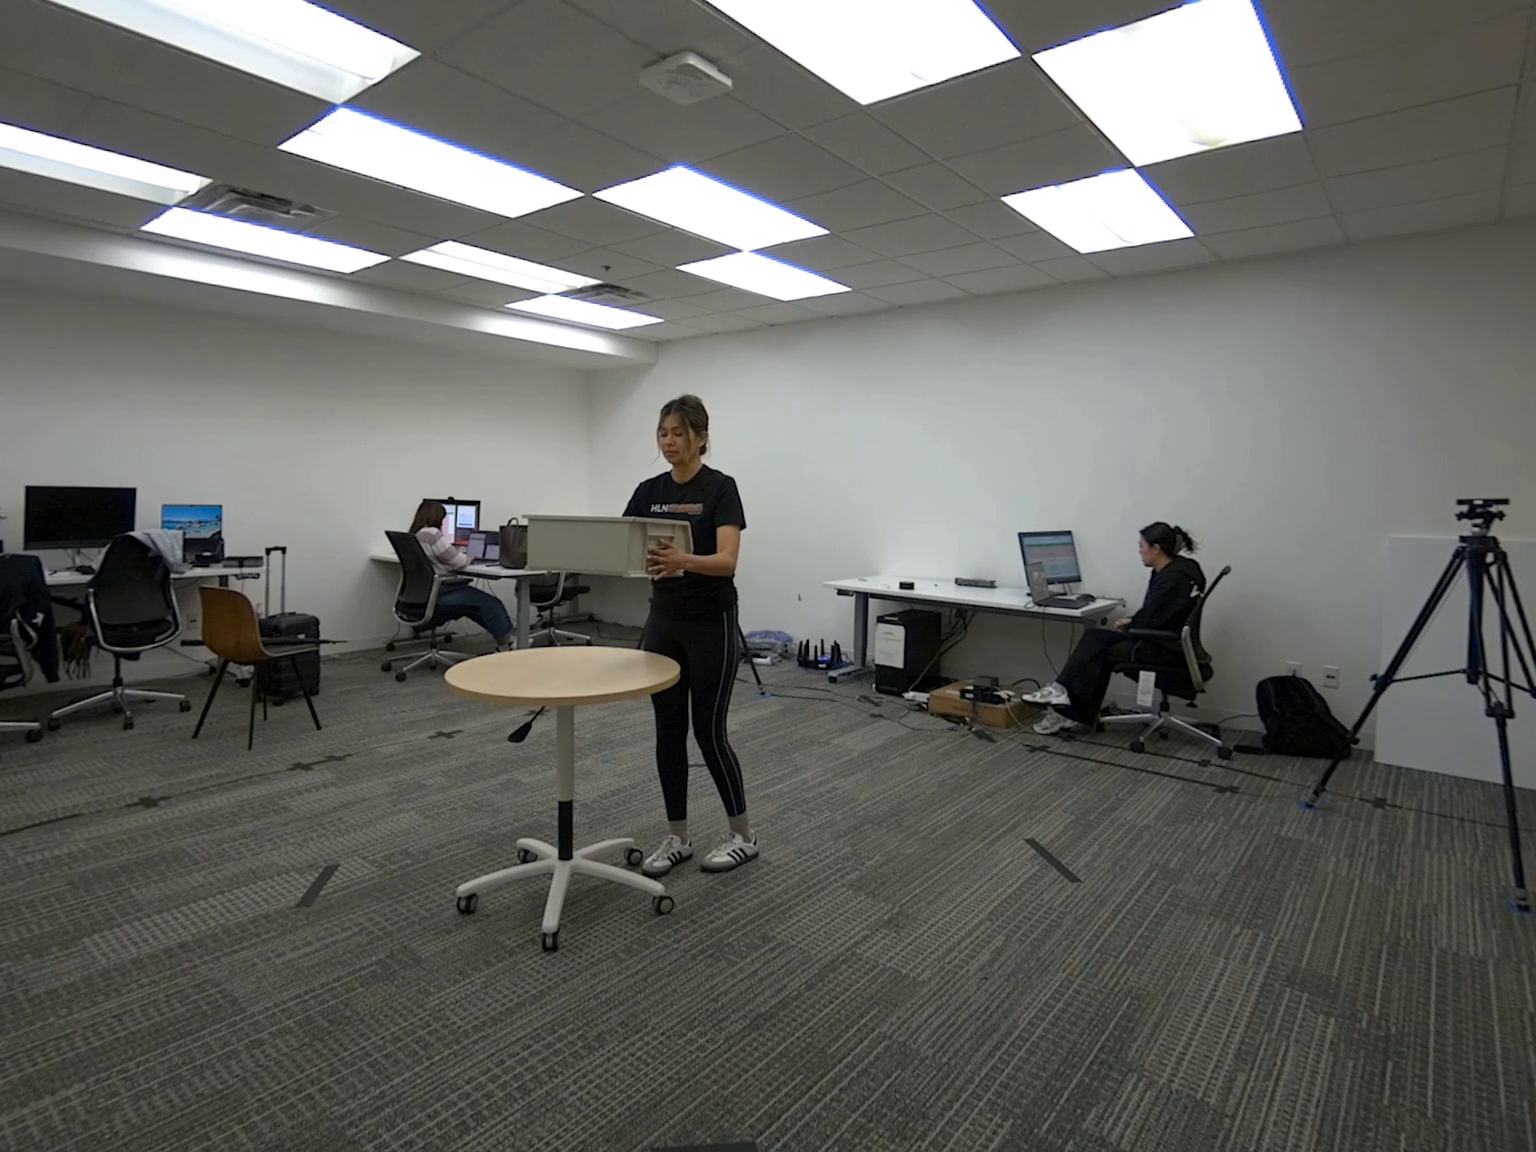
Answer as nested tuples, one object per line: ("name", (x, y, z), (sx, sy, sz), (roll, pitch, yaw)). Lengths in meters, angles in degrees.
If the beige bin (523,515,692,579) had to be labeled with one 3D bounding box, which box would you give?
("beige bin", (-0.527, -0.102, 2.755), (0.434, 0.188, 0.368), (5, 5, 26))
